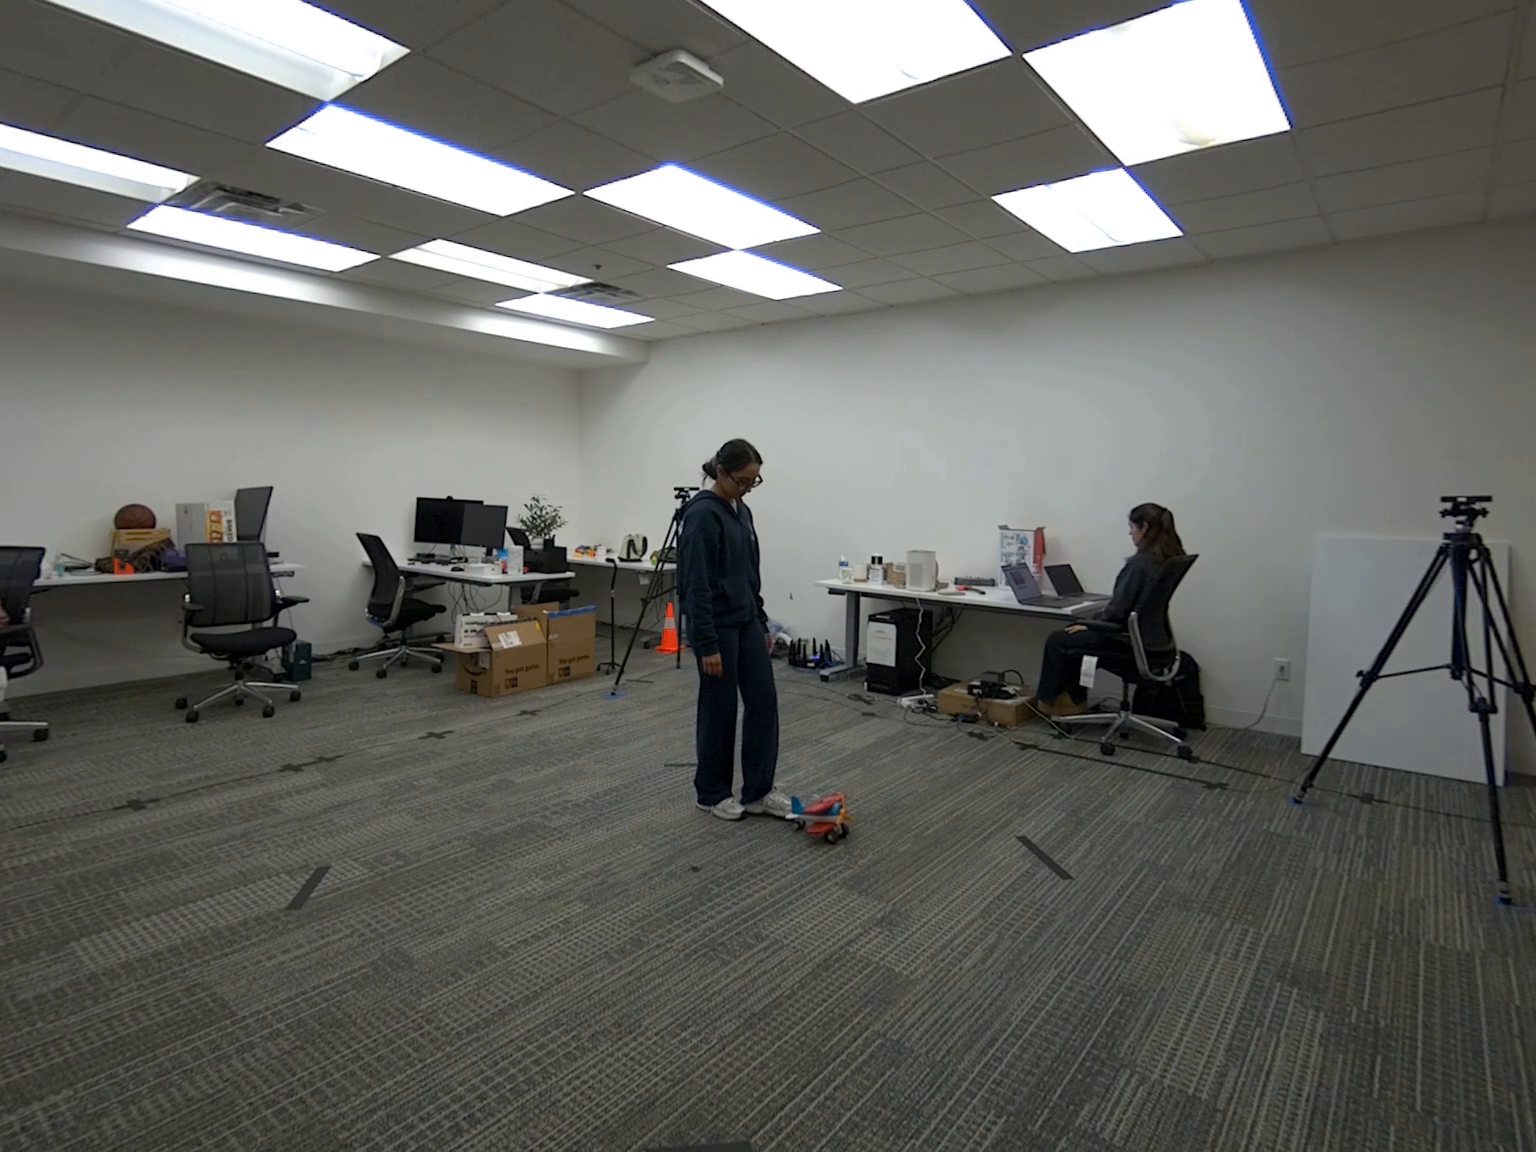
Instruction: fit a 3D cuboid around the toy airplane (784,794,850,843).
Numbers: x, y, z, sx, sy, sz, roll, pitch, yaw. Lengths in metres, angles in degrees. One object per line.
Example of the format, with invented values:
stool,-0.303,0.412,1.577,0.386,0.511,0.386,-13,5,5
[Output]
toy airplane,0.192,0.967,3.417,0.262,0.156,0.249,3,4,8
